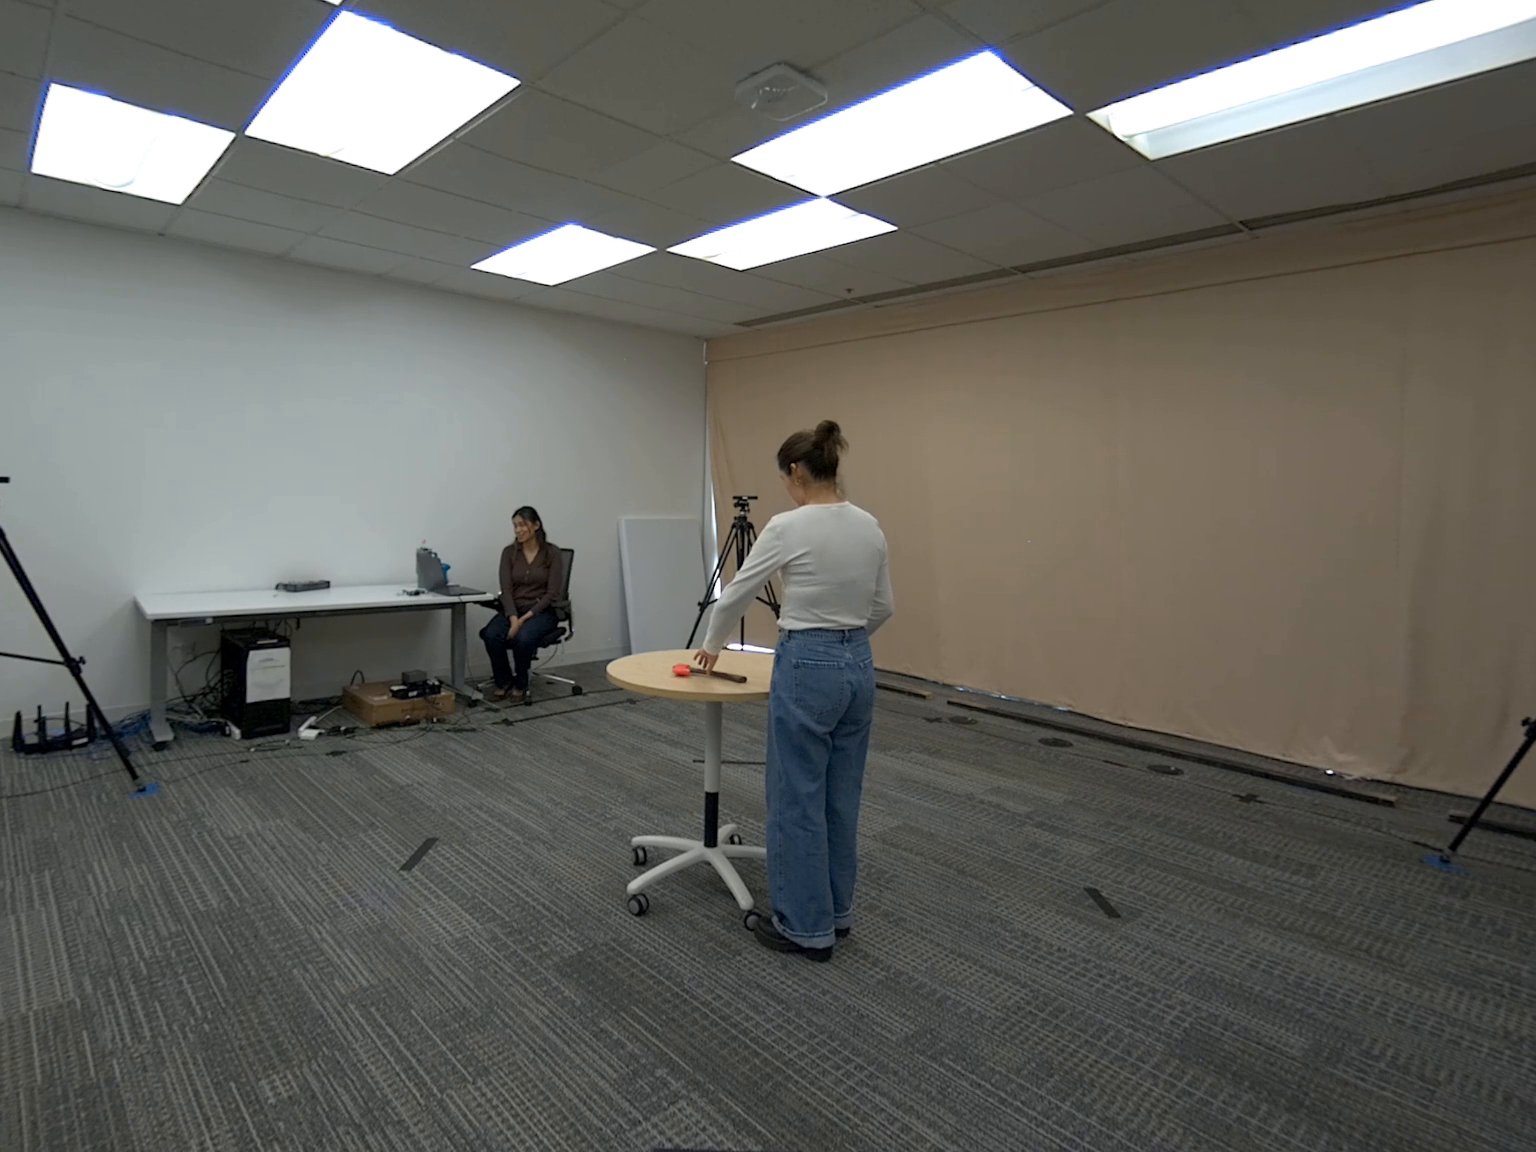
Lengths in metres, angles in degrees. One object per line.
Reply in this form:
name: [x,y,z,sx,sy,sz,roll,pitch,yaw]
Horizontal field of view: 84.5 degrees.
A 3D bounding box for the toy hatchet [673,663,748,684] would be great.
toy hatchet: [-0.215,0.331,2.814,0.277,0.029,0.128,6,3,37]
